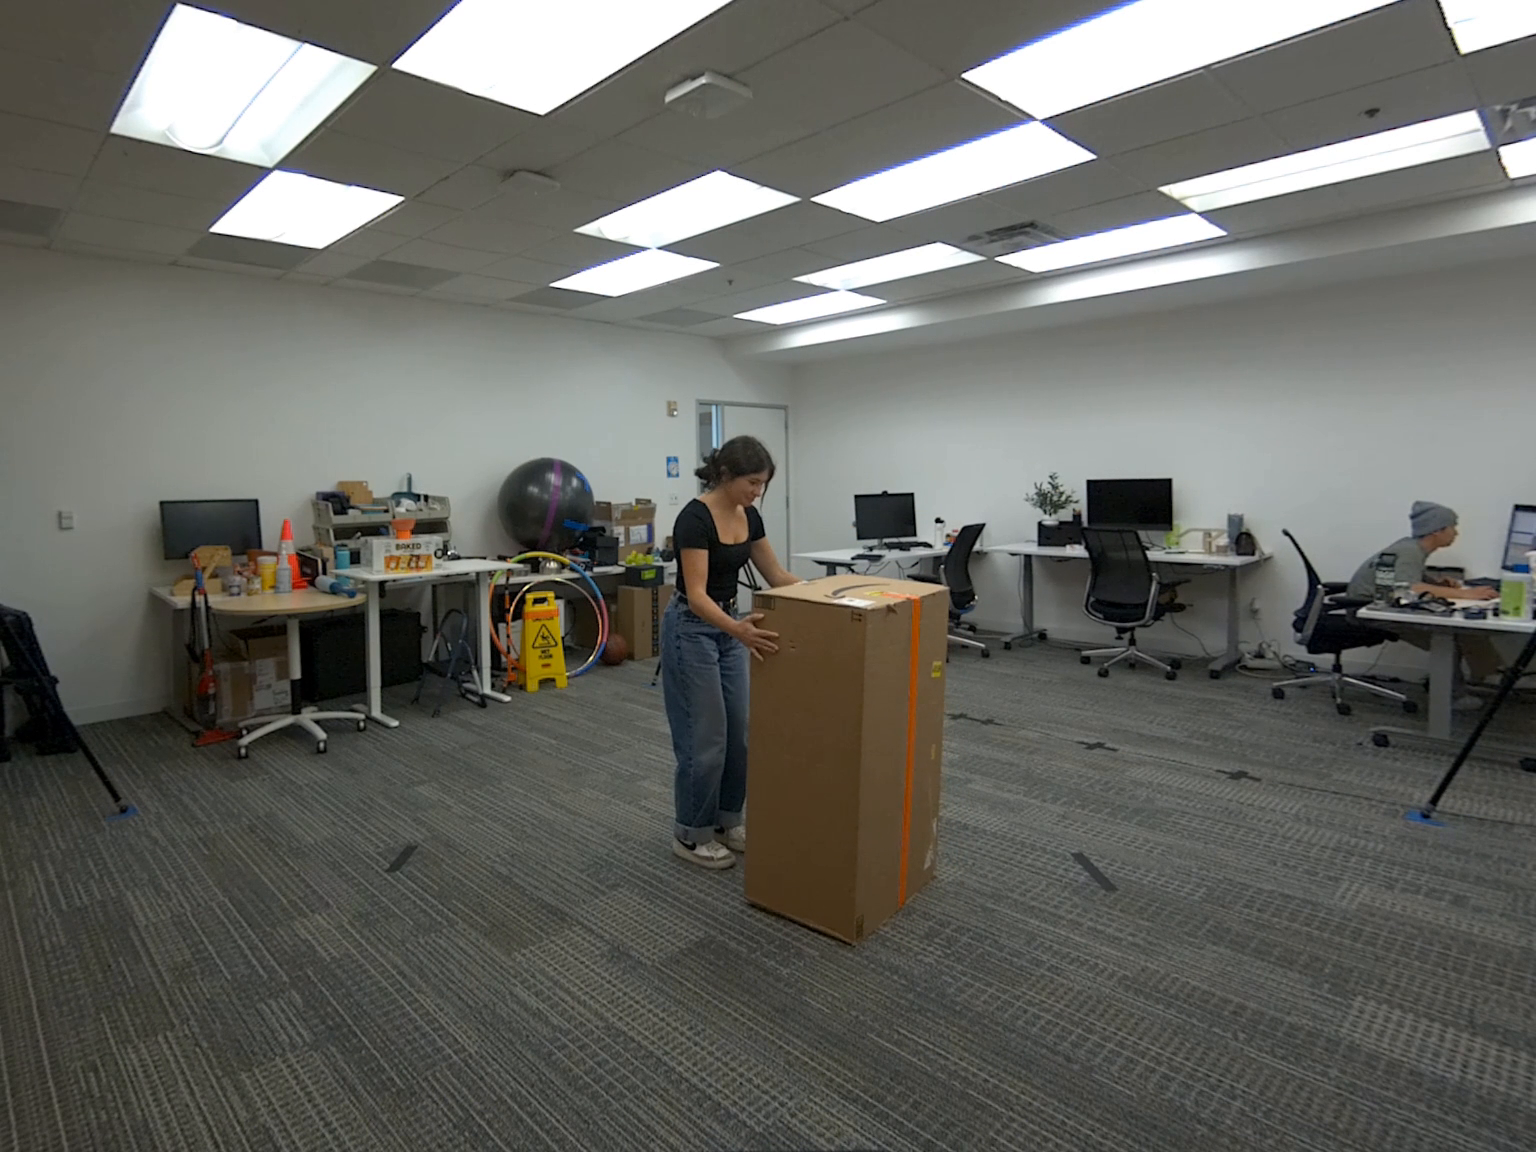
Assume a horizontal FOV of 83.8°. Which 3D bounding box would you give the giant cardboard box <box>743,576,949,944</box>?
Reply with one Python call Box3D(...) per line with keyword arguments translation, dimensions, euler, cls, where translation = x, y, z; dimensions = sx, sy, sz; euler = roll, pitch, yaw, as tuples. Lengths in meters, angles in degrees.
Box3D(translation=(0.276, 0.555, 2.841), dimensions=(0.439, 1.021, 0.563), euler=(6, 7, 36), cls="giant cardboard box")
